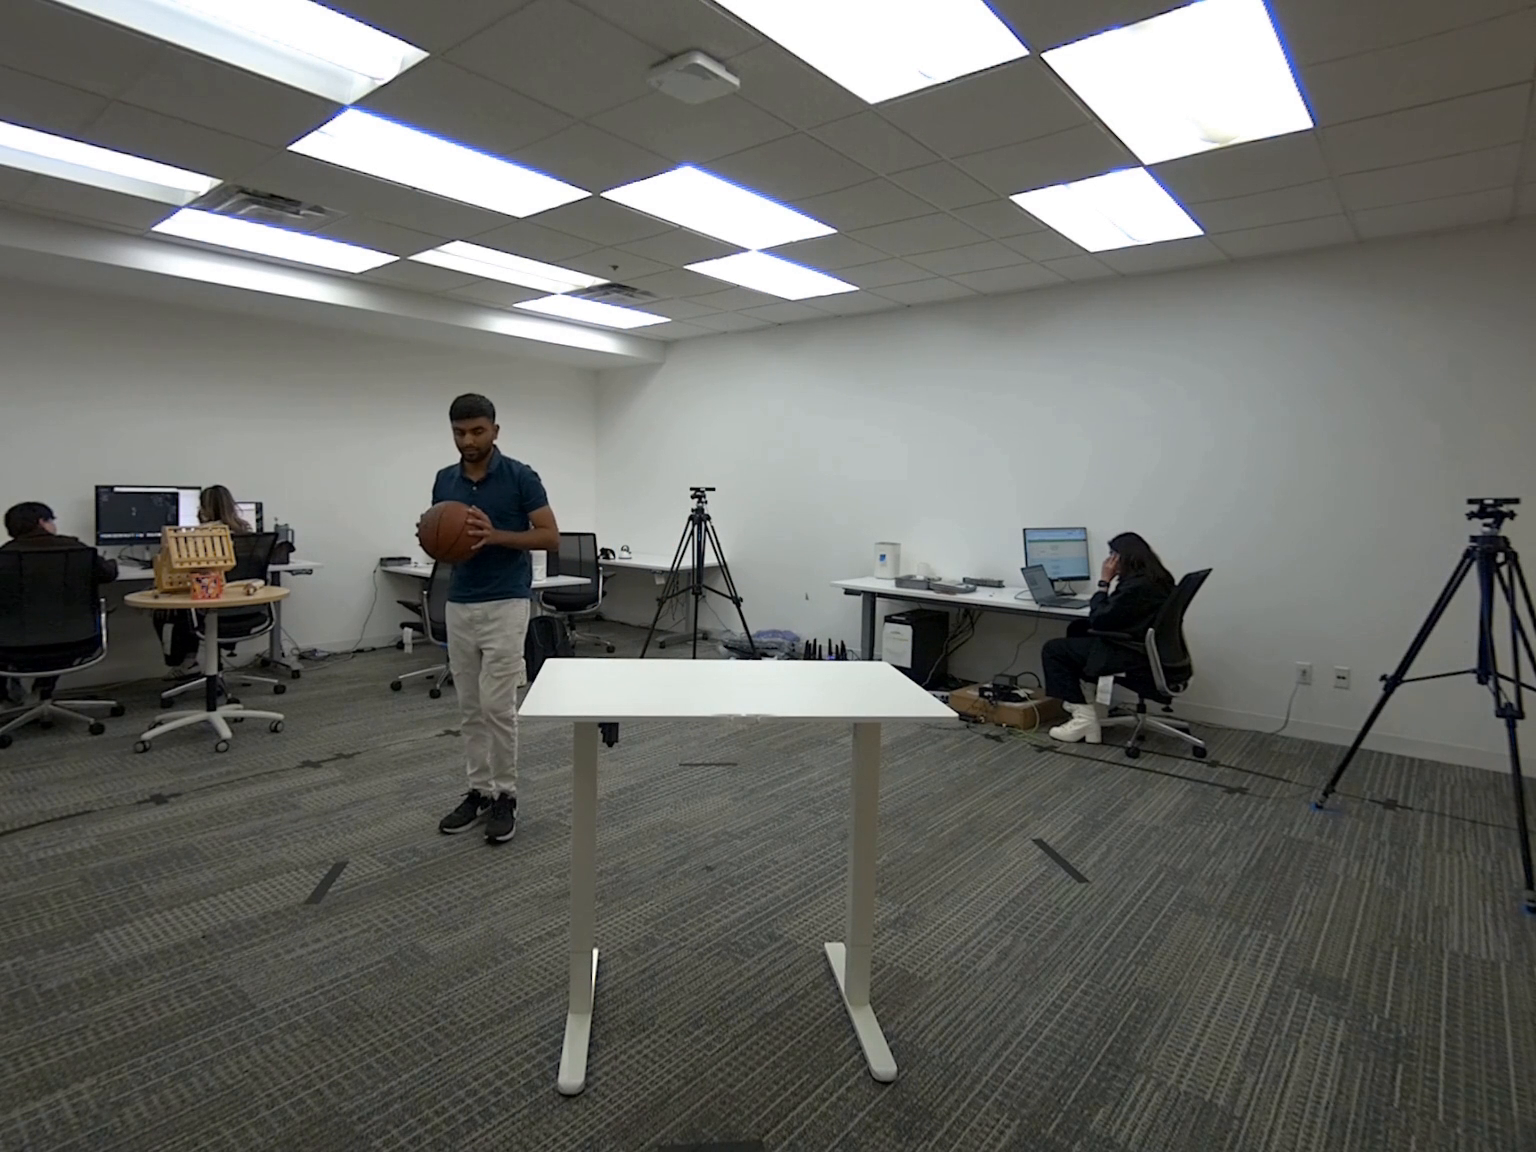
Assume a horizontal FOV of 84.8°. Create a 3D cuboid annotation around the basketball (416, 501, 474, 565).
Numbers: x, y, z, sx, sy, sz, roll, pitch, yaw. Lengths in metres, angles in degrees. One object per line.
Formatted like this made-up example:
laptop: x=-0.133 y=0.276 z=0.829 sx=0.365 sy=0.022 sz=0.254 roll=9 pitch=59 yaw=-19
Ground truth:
basketball: x=-1.215 y=-0.168 z=3.211 sx=0.235 sy=0.235 sz=0.237 roll=1 pitch=4 yaw=-2
